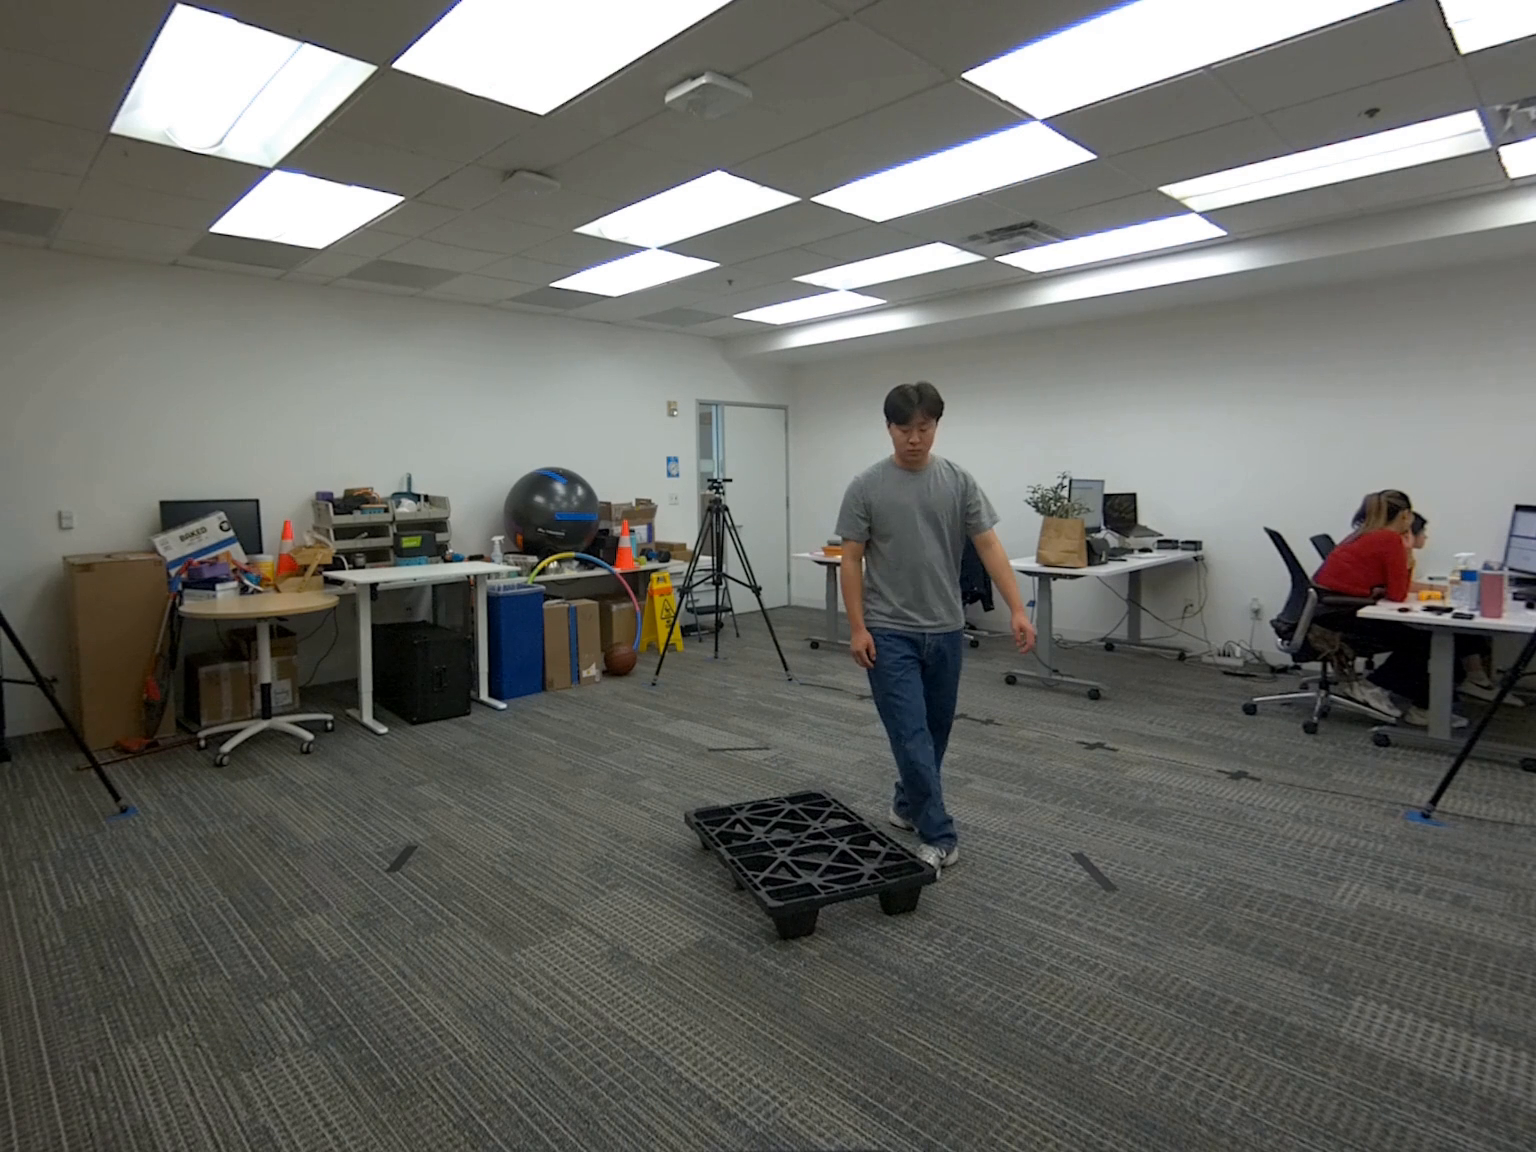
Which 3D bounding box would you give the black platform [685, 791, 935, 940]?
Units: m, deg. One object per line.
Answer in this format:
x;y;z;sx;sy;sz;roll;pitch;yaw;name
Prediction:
0.112;0.987;2.995;0.594;0.143;0.825;-4;7;-23;black platform
